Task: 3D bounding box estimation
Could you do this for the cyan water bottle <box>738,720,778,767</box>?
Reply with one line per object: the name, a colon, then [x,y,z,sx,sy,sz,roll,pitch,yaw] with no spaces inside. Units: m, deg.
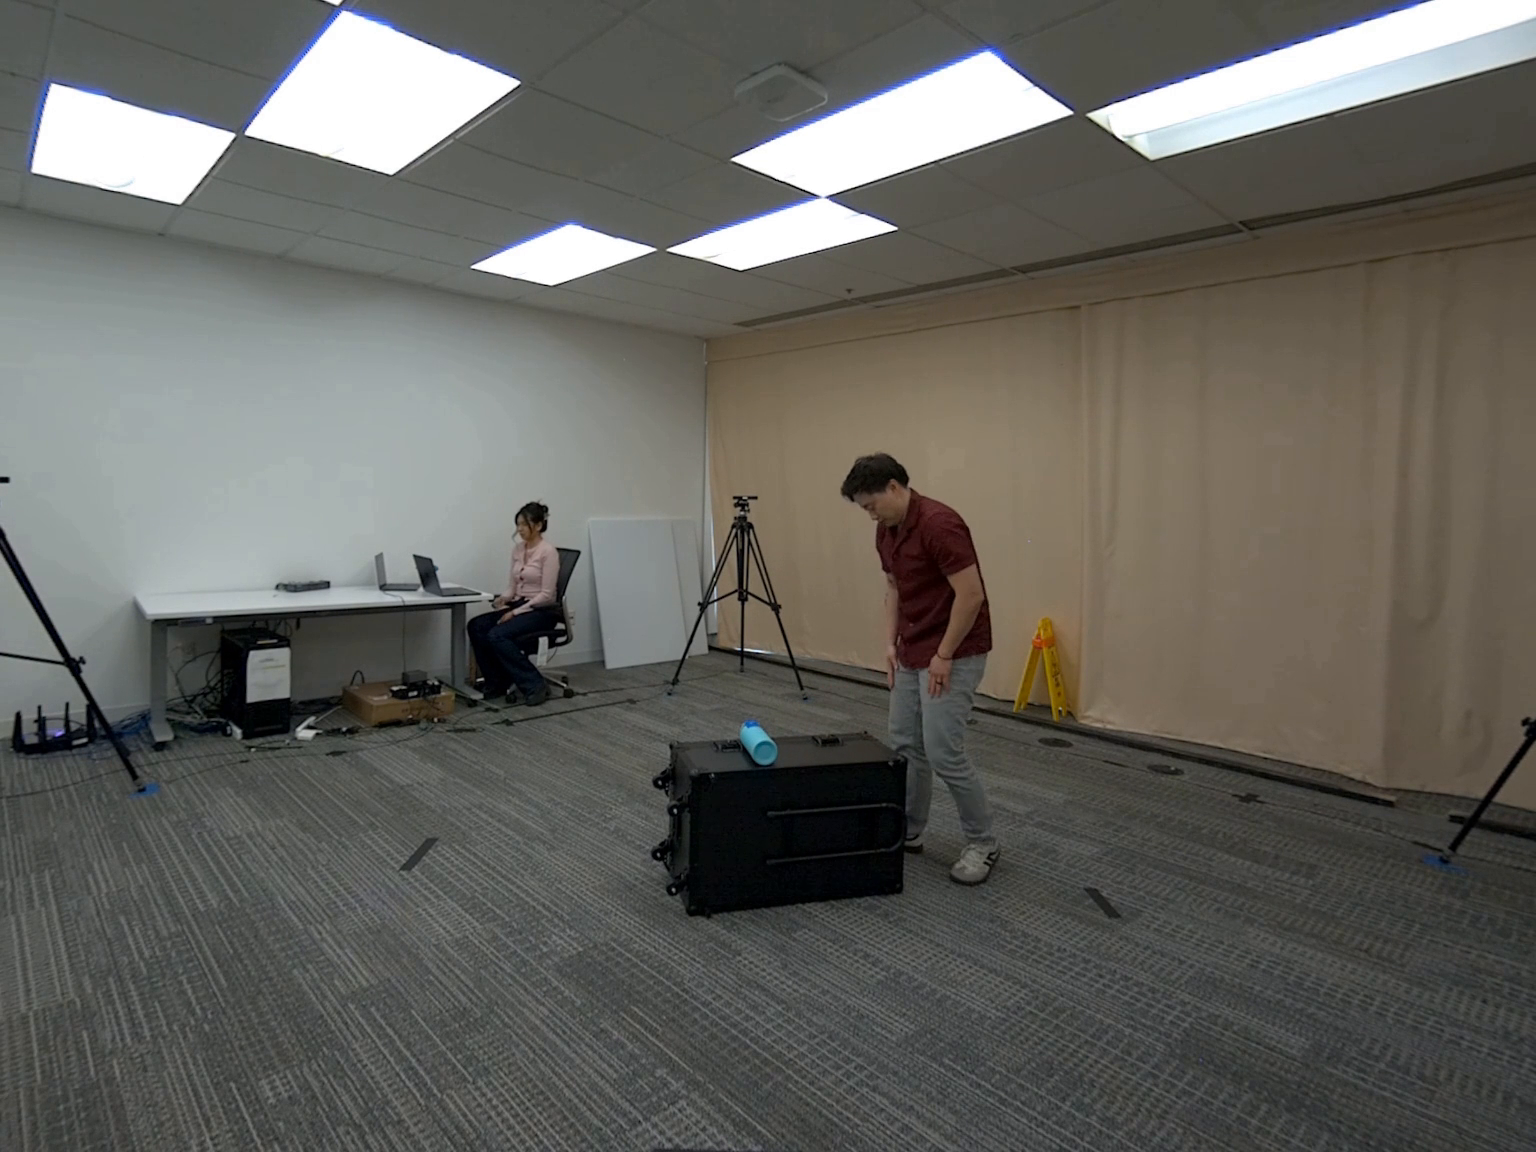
cyan water bottle: [-0.048,0.586,2.987,0.091,0.092,0.286,1,5,-10]
